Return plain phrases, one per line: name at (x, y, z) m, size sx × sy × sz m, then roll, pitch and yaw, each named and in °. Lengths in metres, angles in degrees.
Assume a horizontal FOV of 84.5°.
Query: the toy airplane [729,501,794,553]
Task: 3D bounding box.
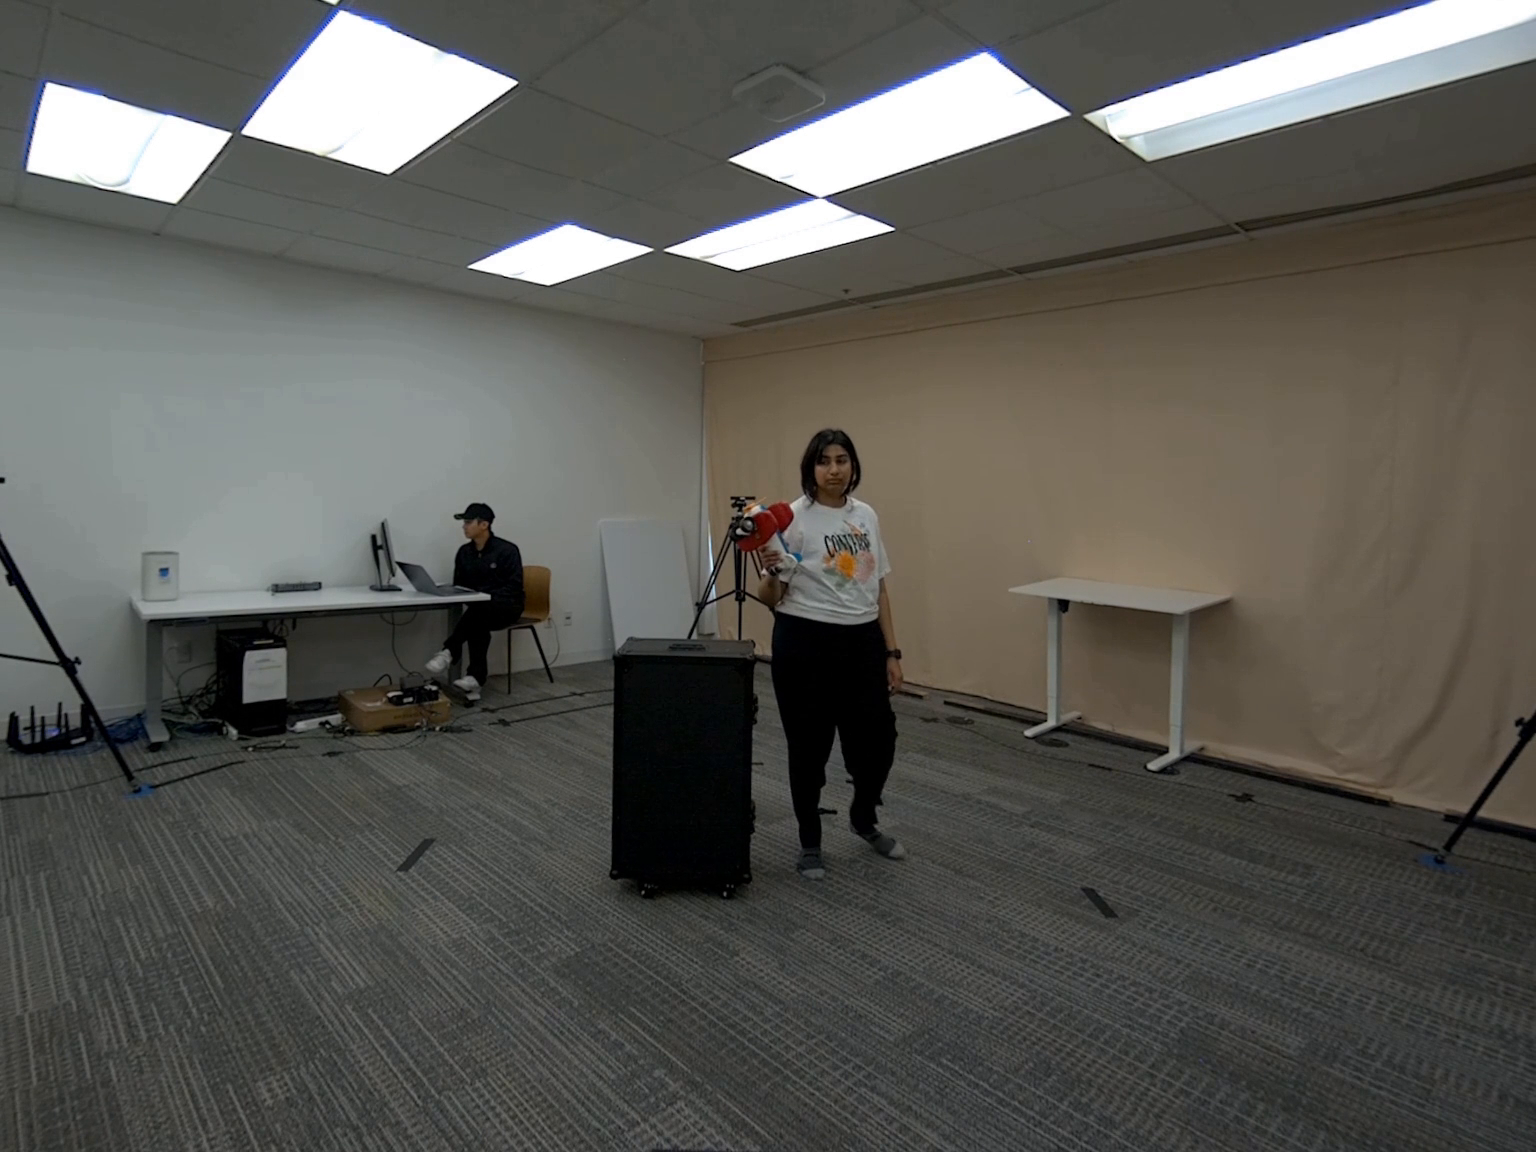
toy airplane at (-0.008, -0.123, 2.873) m, size 0.257 × 0.253 × 0.156 m, roll 5°, pitch 40°, yaw 45°
